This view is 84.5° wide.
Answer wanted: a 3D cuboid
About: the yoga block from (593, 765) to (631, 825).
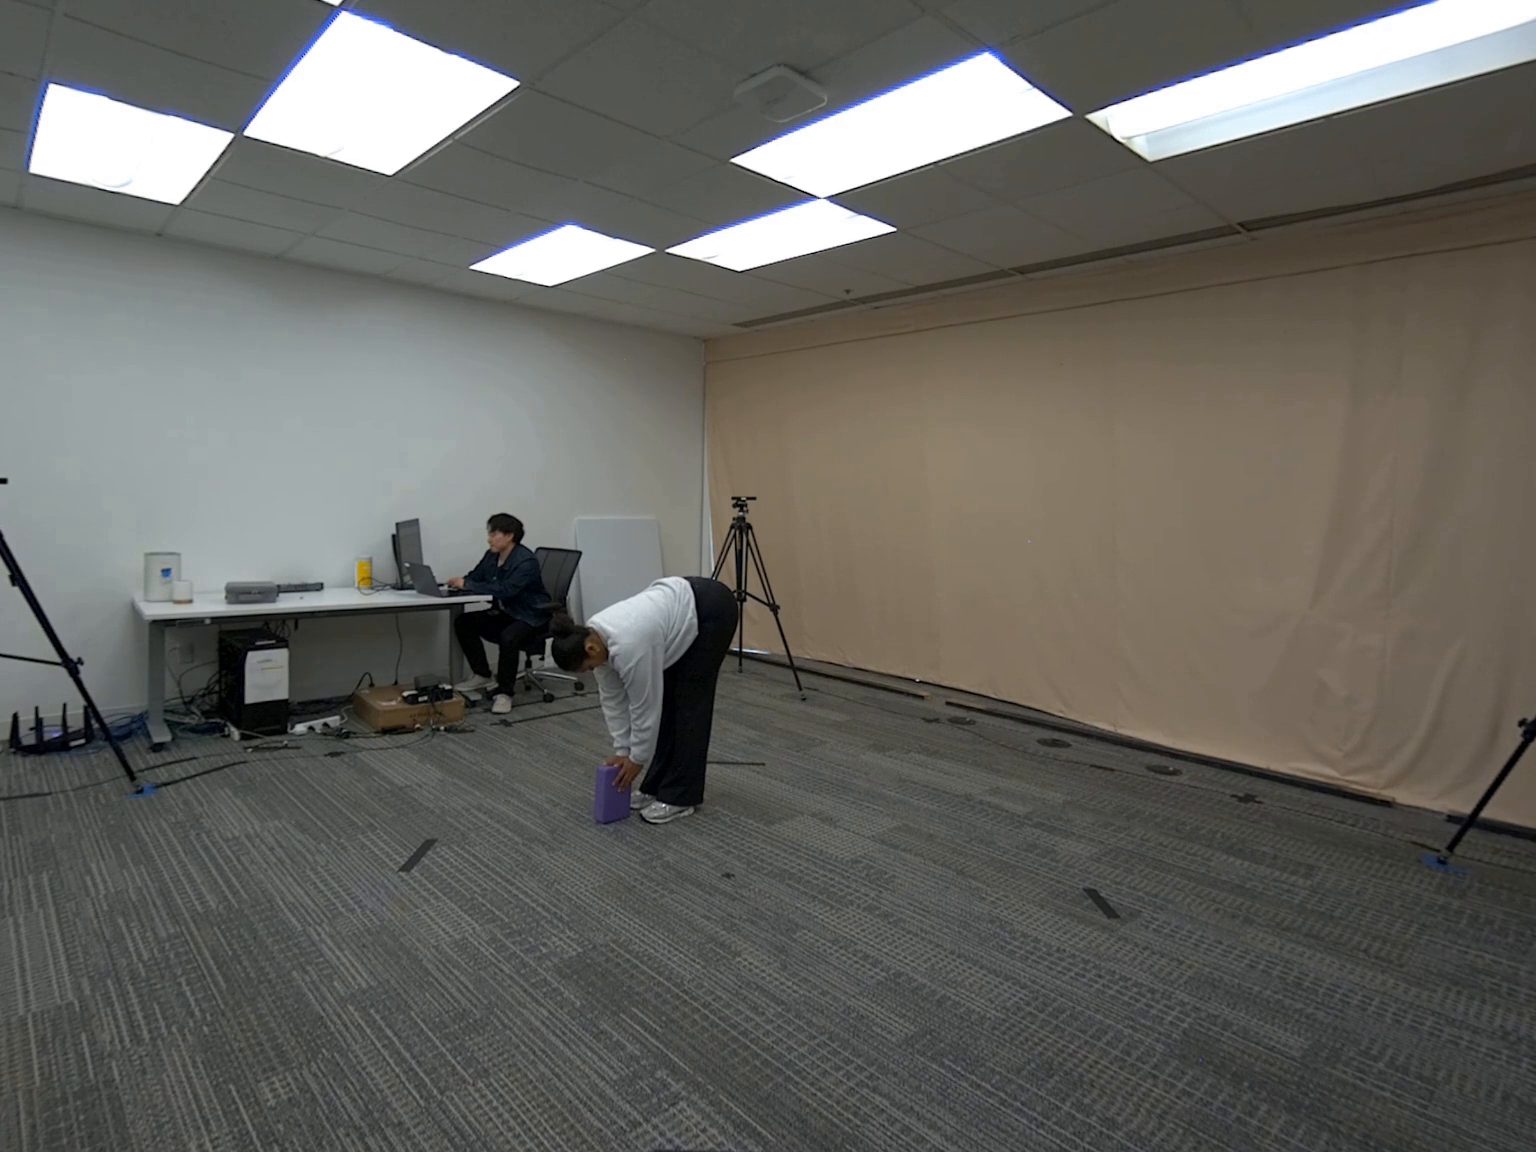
[{"bbox_3d":[-0.676,0.930,3.623,0.078,0.229,0.145,0,0,44],"label":"yoga block"}]
